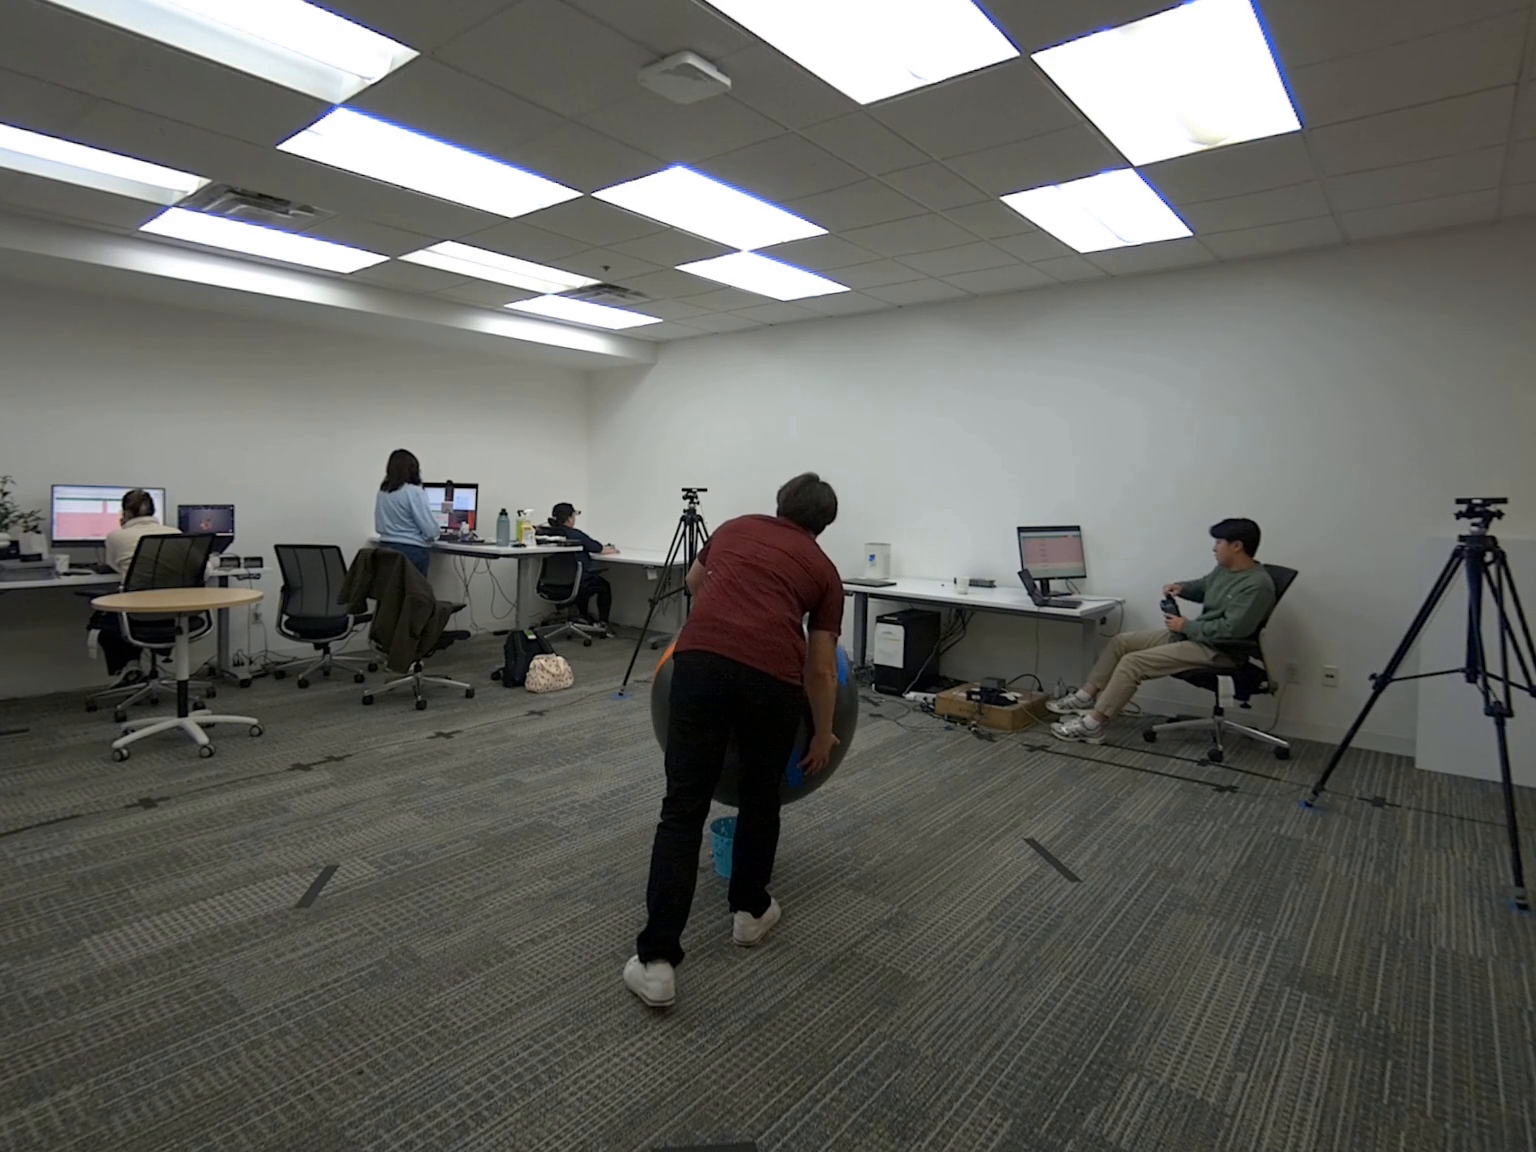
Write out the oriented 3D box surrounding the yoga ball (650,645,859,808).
[{"bbox_3d":[-0.059,0.446,3.120,0.757,0.756,0.762,1,4,-2],"label":"yoga ball"}]
